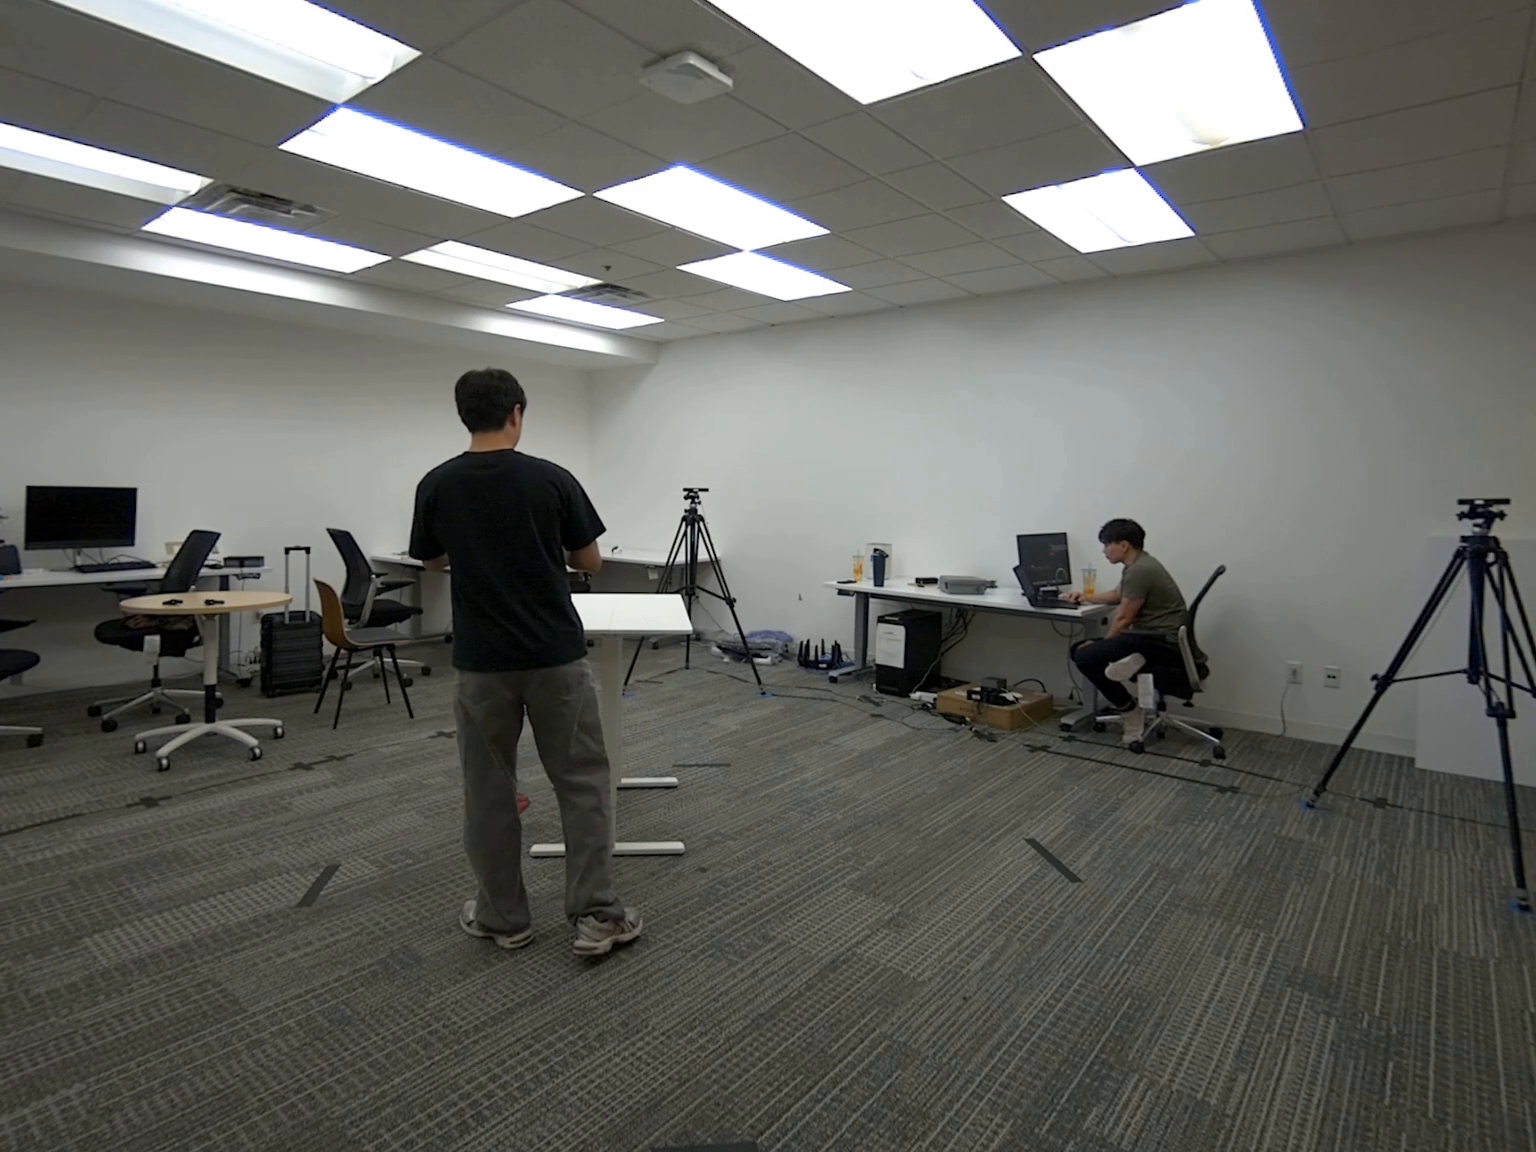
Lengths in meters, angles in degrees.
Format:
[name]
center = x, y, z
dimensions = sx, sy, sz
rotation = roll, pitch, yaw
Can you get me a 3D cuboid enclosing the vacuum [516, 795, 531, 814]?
[vacuum]
center = -0.892, 0.249, 2.896
dimensions = 0.144, 1.049, 0.252
rotation = 0, 0, 2
